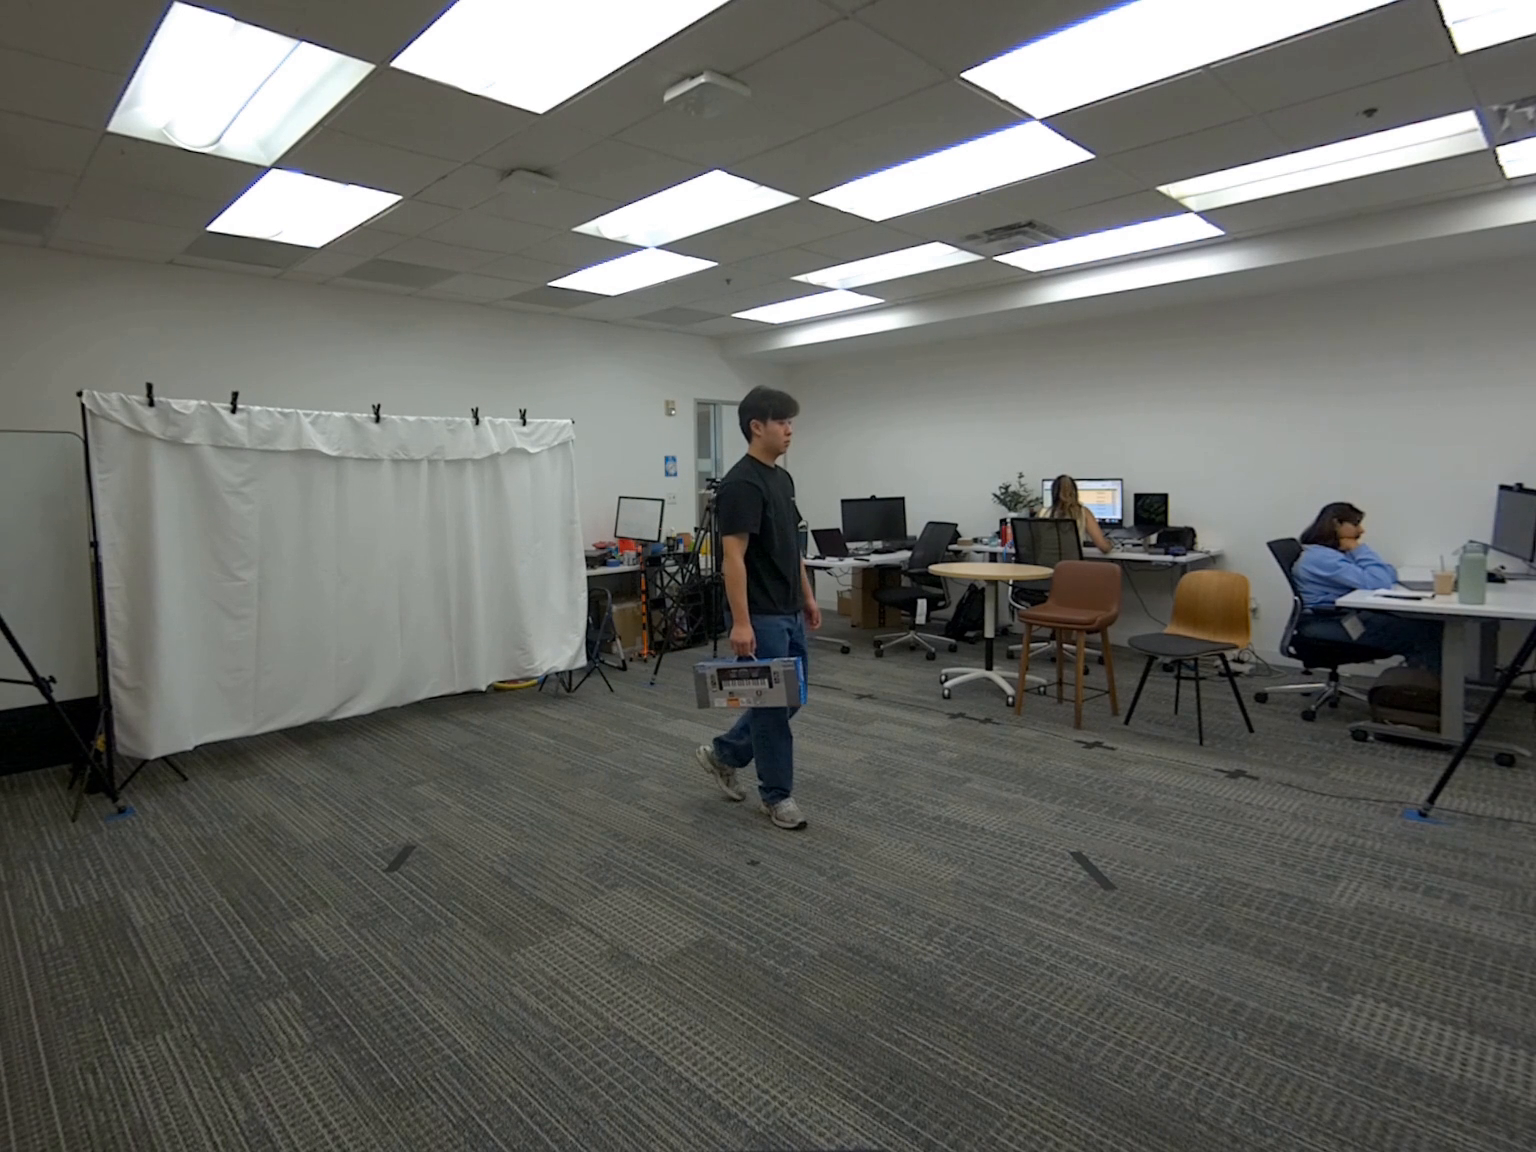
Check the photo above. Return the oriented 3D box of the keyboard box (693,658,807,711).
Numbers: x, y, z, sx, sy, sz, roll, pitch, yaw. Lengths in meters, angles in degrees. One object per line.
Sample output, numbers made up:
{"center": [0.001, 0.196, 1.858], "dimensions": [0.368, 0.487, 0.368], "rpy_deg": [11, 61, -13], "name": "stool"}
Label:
{"center": [-0.075, 0.409, 3.241], "dimensions": [0.446, 0.176, 0.058], "rpy_deg": [-6, 1, 26], "name": "keyboard box"}
